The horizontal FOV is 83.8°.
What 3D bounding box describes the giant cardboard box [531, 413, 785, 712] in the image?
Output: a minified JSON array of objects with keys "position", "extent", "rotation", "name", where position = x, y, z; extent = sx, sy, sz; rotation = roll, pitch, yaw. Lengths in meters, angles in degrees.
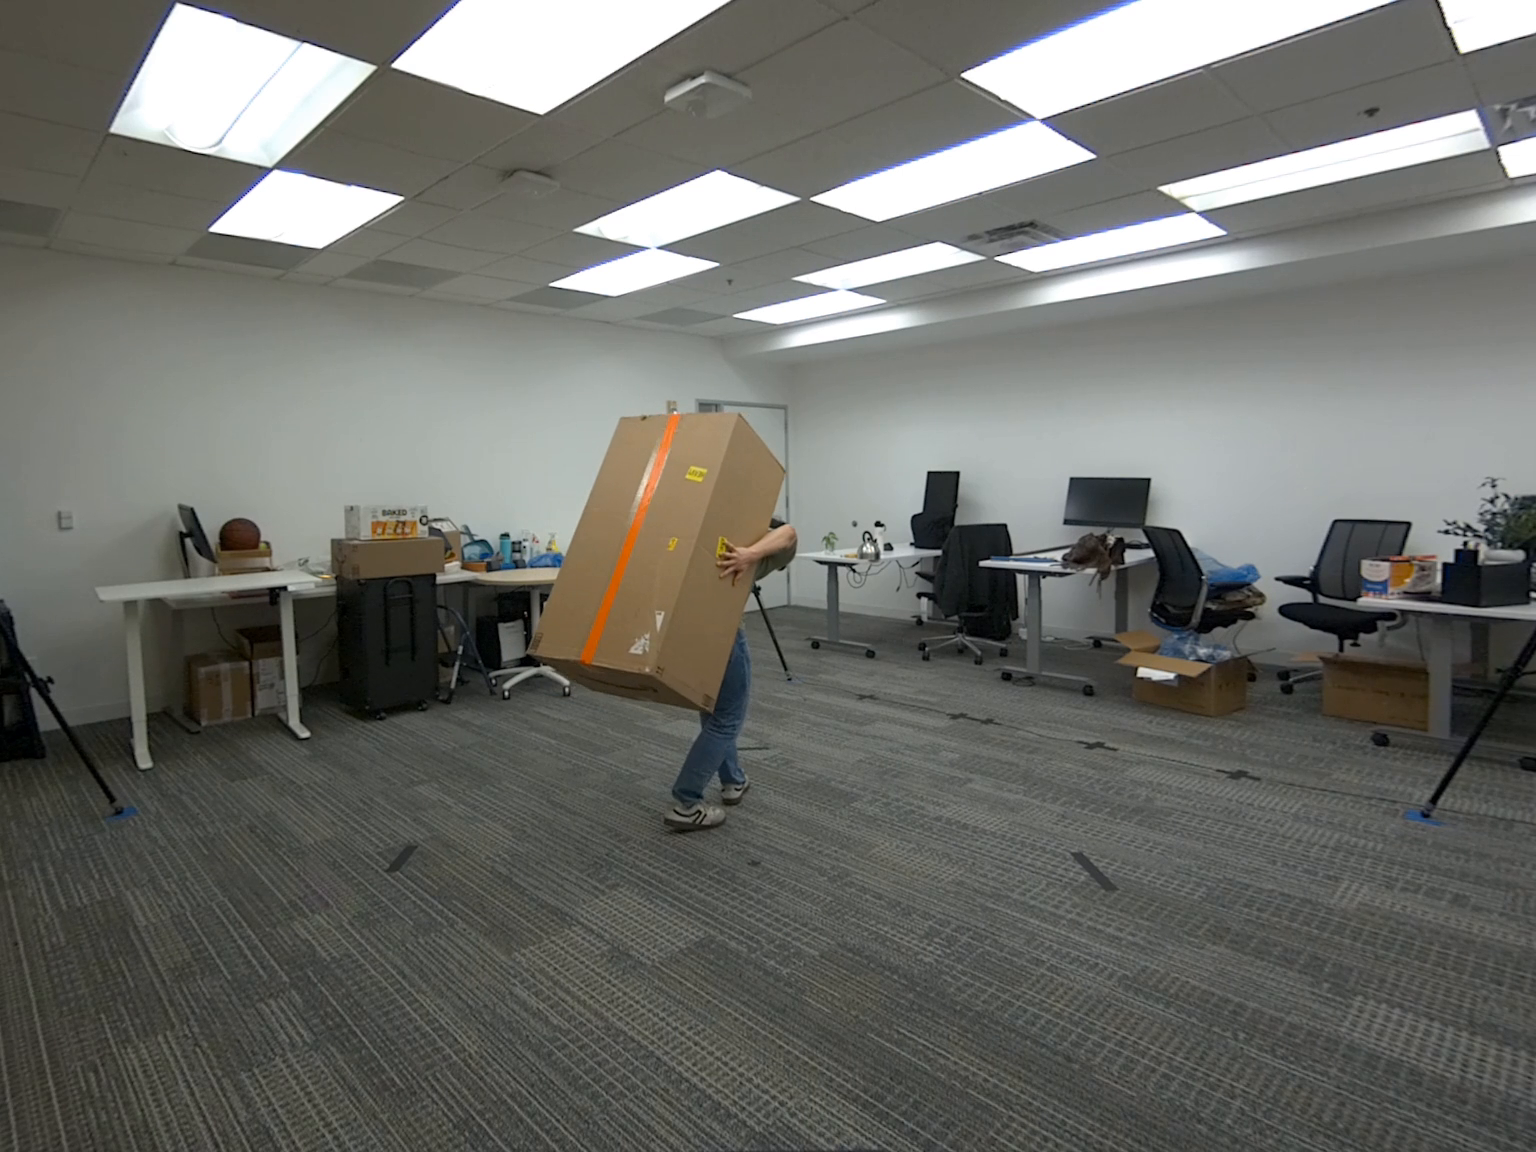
[{"position":[-0.399,-0.070,3.258],"extent":[0.594,1.038,0.409],"rotation":[2,-25,33],"name":"giant cardboard box"}]
